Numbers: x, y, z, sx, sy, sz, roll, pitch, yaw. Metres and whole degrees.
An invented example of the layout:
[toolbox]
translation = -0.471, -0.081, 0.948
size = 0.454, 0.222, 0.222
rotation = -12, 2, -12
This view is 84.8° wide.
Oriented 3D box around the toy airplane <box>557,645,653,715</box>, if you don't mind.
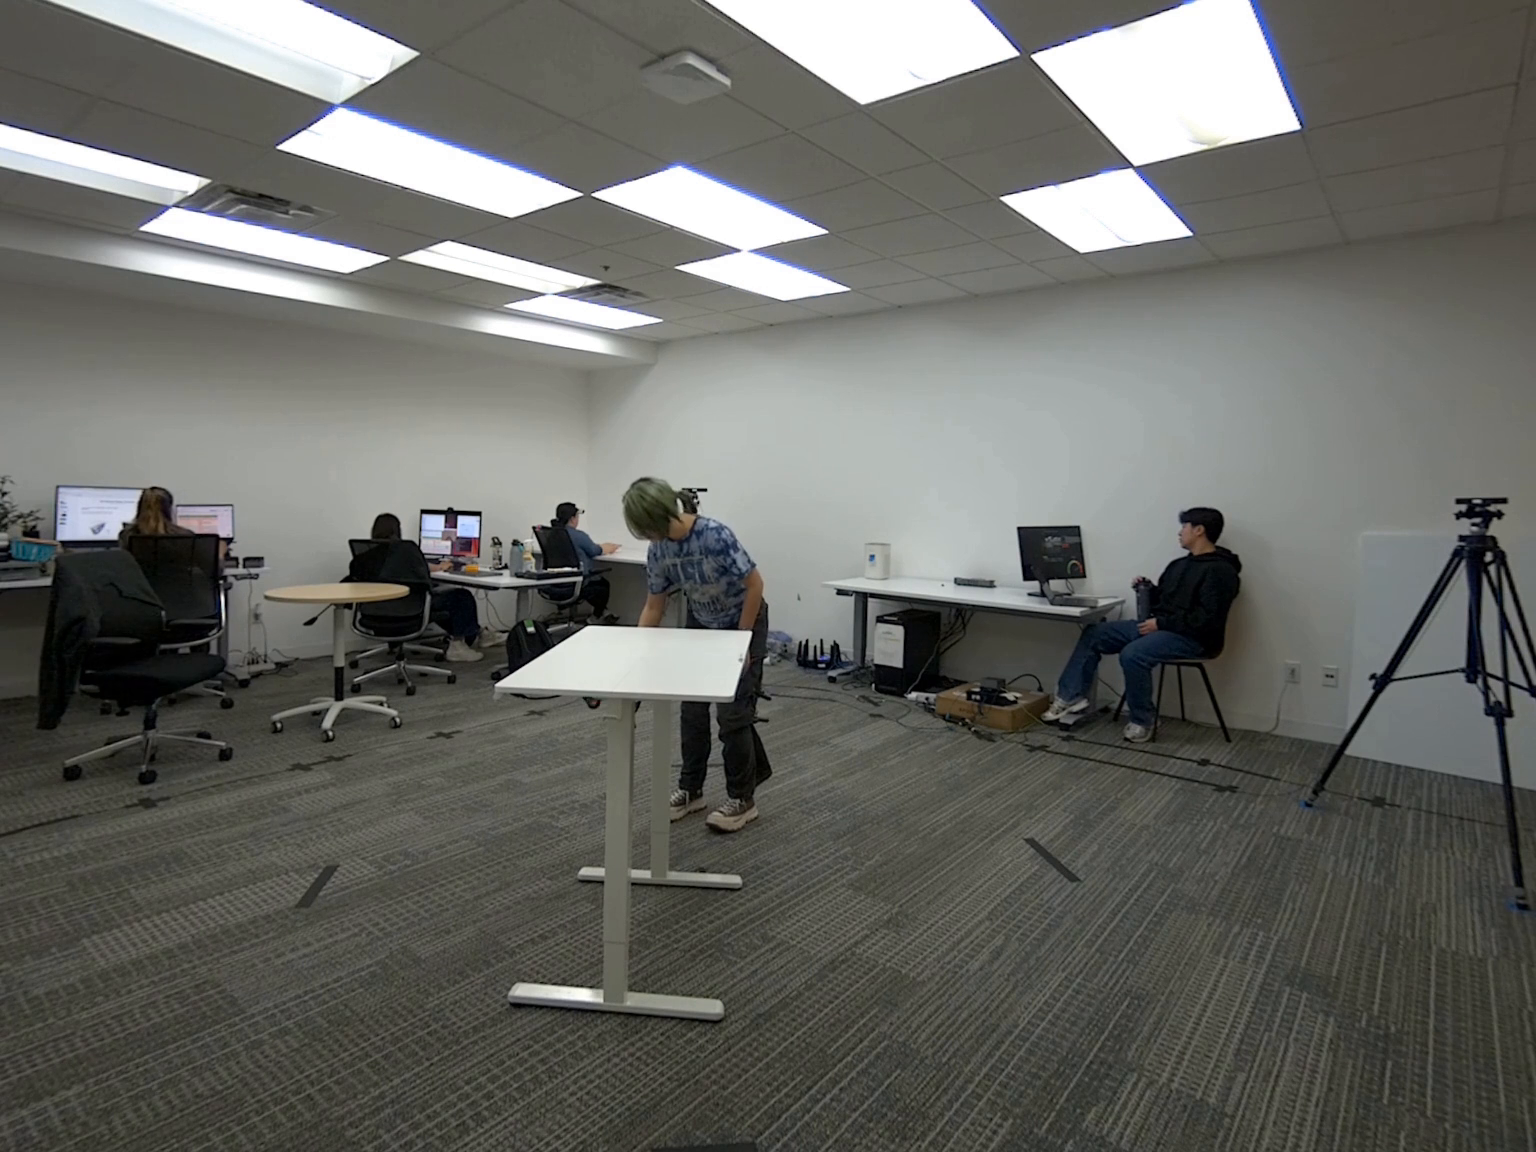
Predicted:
[toy airplane]
translation = -0.666, 0.418, 3.438
size = 0.259, 0.154, 0.255
rotation = 4, 20, 39
